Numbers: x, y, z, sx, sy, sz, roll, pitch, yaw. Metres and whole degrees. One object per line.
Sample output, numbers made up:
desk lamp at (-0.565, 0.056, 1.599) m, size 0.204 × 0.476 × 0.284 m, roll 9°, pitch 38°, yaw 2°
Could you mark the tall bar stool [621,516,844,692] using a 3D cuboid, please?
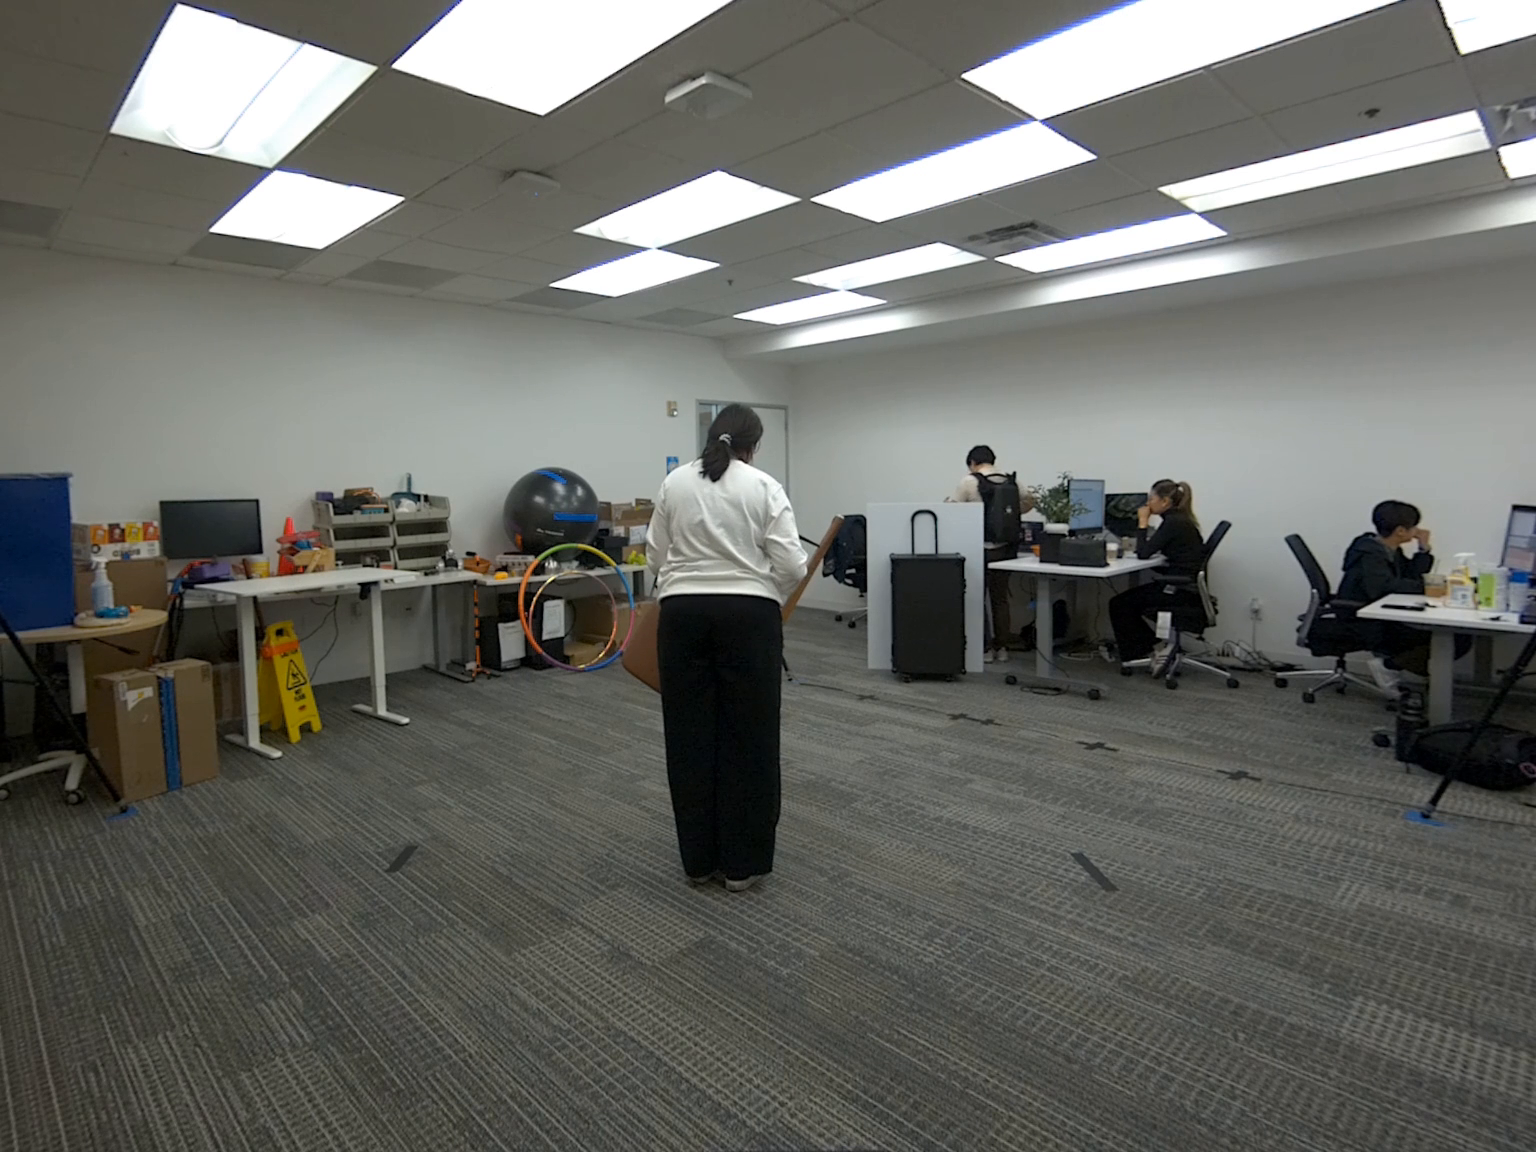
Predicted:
tall bar stool at (-0.147, 0.055, 3.352) m, size 0.473 × 0.890 × 0.450 m, roll 24°, pitch 0°, yaw 38°
